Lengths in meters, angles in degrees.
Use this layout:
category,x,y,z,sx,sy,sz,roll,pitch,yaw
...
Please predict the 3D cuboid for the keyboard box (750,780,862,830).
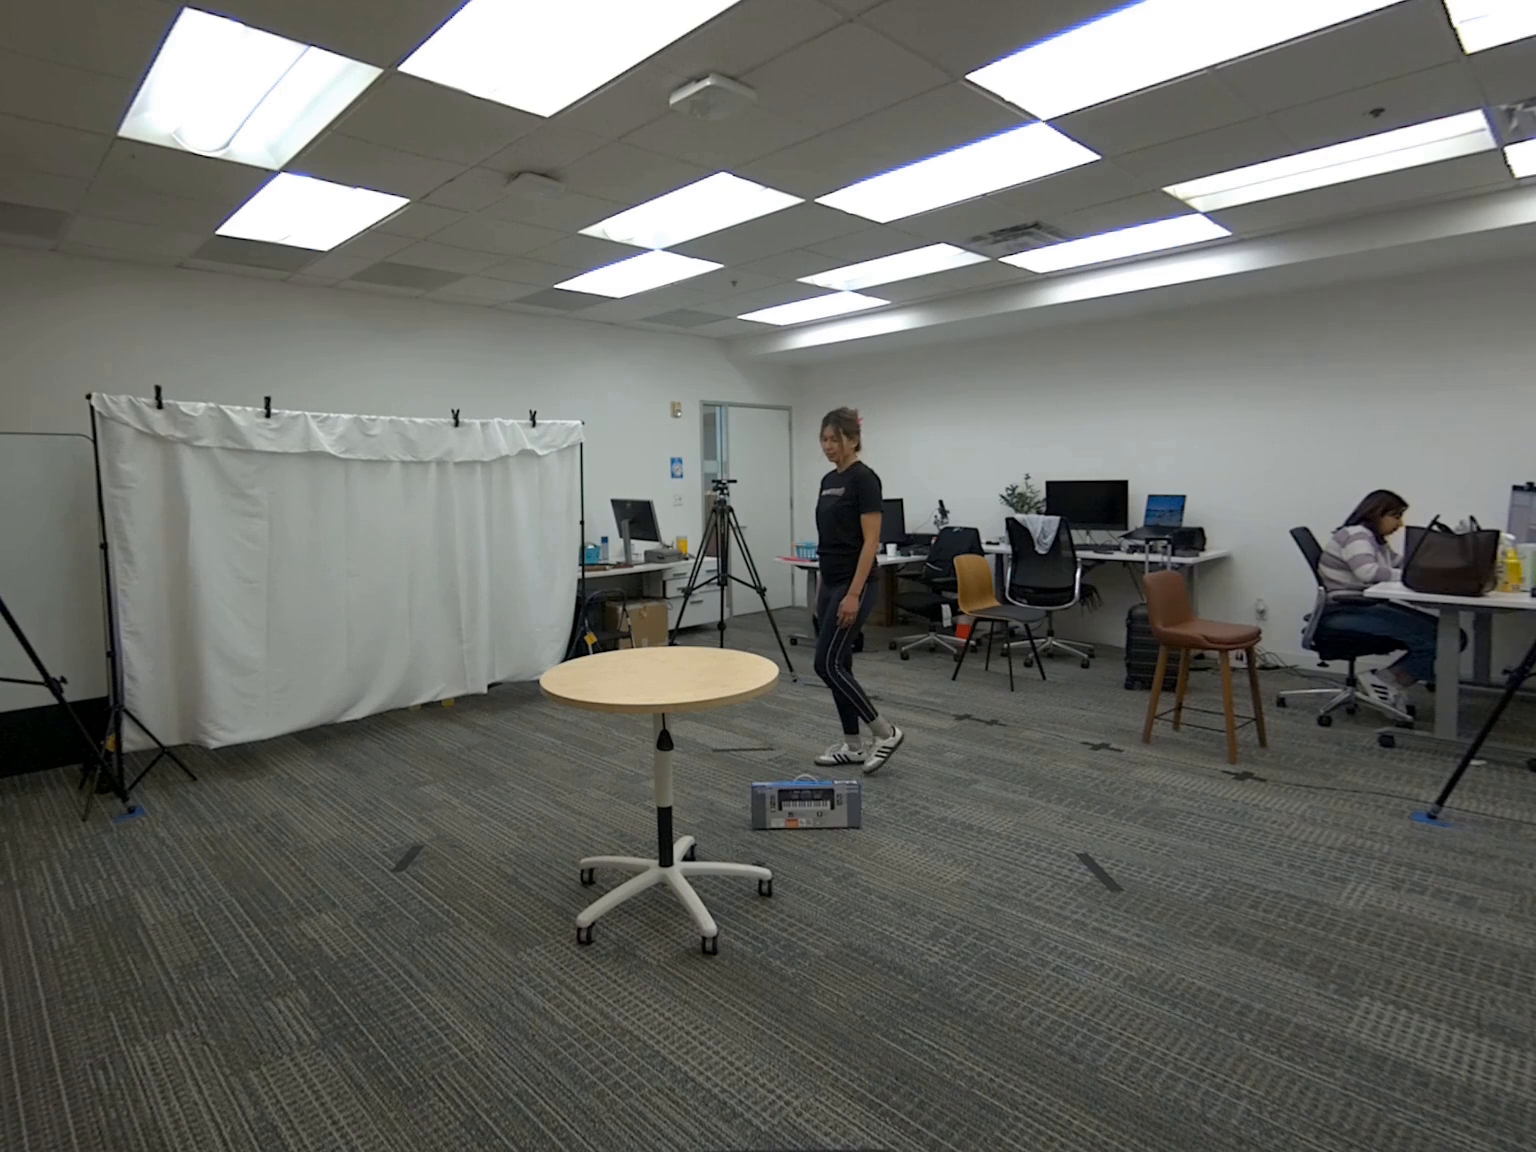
category,x,y,z,sx,sy,sz,roll,pitch,yaw
keyboard box,0.155,0.919,3.434,0.437,0.176,0.059,-1,-2,0
